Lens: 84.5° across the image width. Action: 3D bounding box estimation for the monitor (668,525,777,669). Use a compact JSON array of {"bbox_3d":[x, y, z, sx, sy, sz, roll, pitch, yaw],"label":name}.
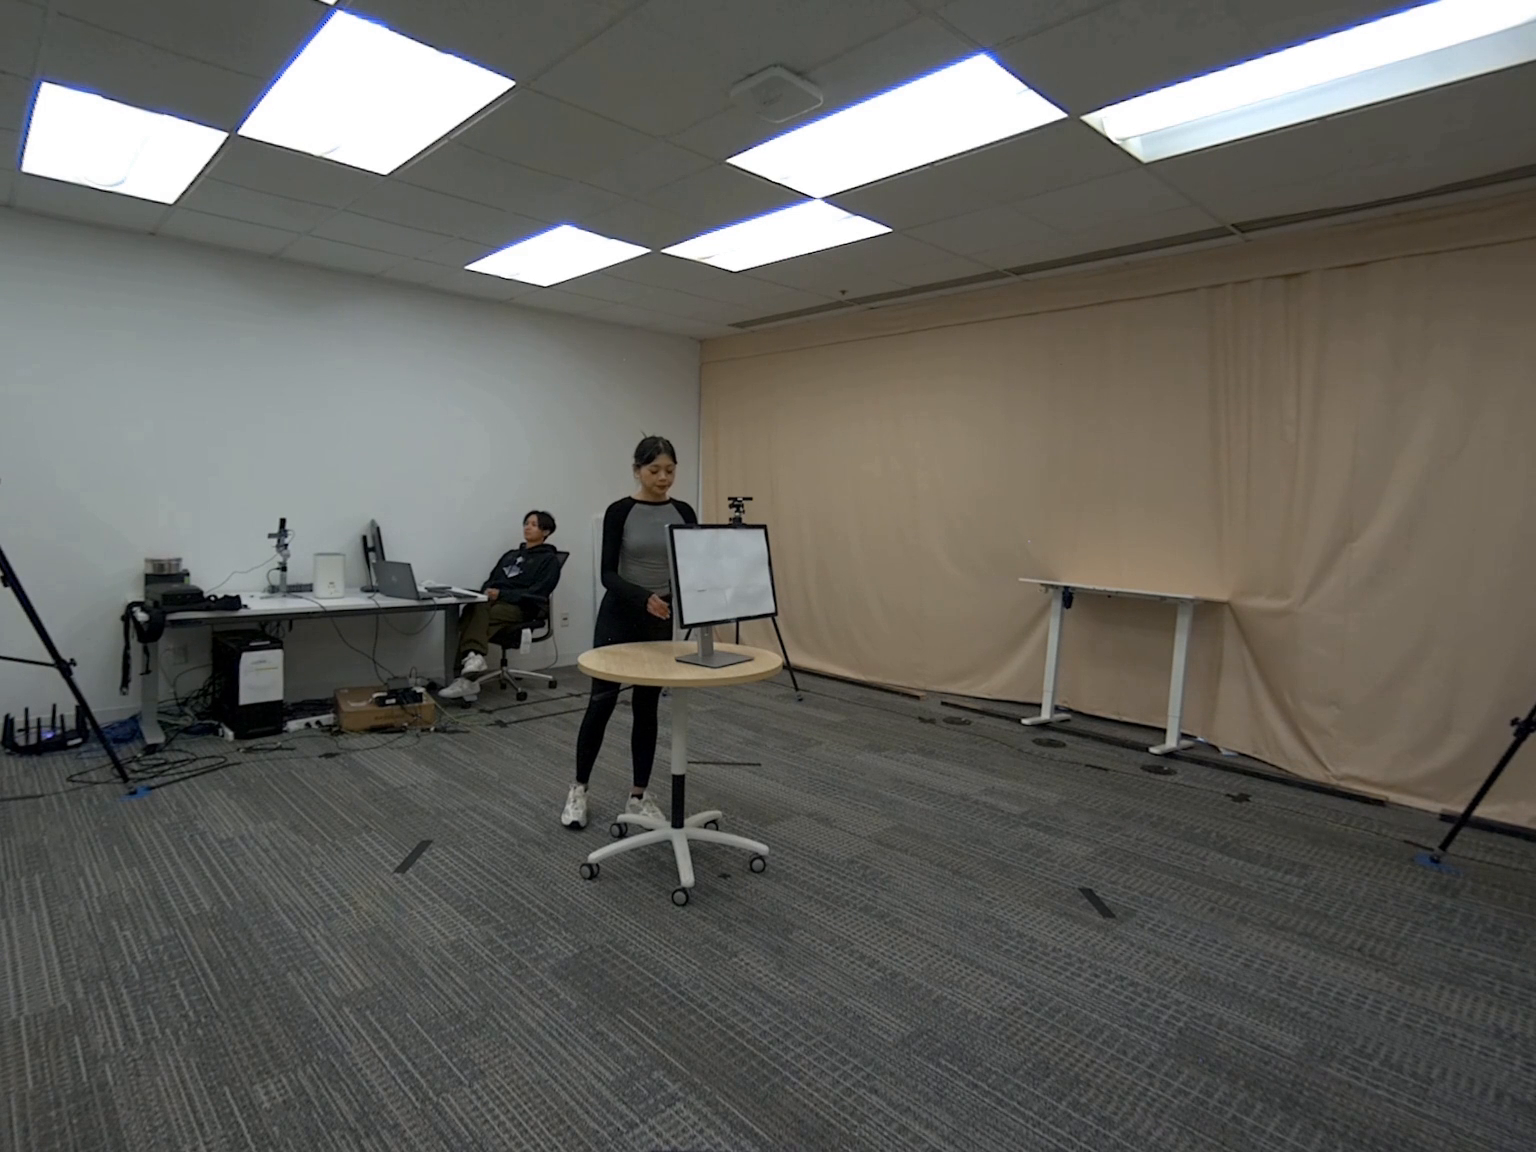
[{"bbox_3d":[-0.193,0.069,3.110,0.179,0.514,0.518,13,9,37],"label":"monitor"}]
